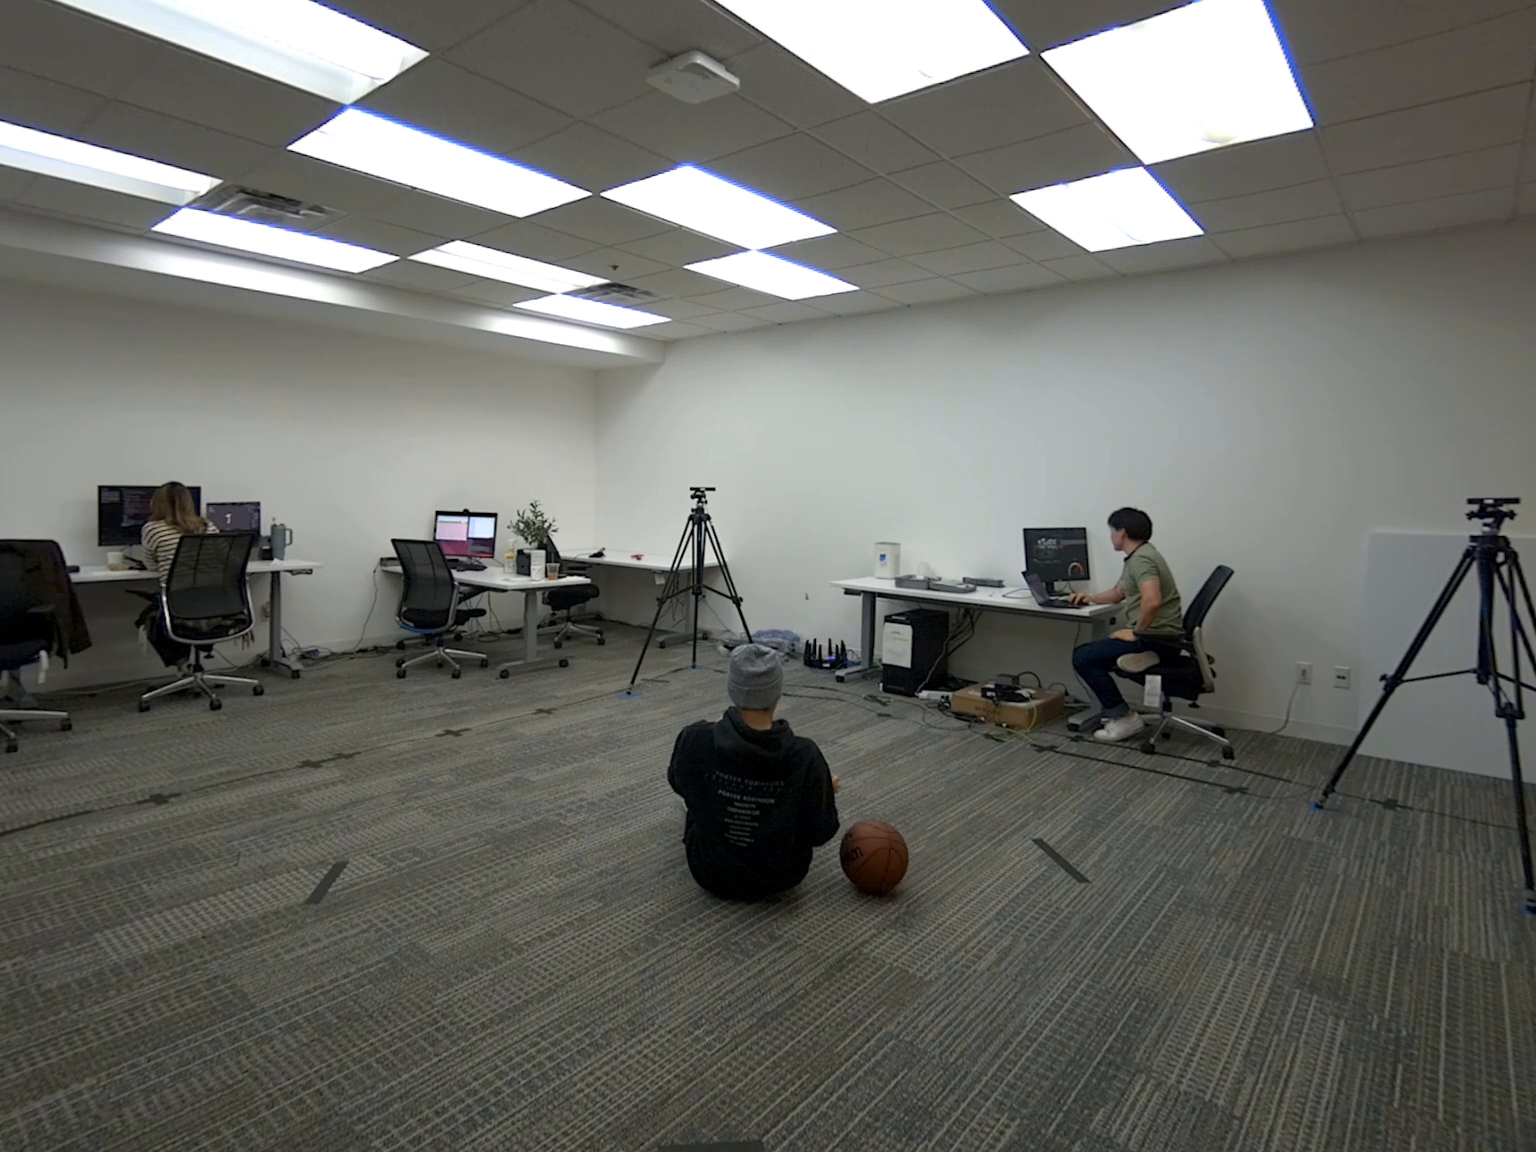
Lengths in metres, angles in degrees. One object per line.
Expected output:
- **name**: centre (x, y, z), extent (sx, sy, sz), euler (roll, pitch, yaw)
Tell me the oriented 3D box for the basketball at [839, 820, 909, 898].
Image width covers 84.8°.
- **basketball**: centre (0.361, 0.971, 2.968), extent (0.235, 0.235, 0.237), euler (1, 4, -2)
